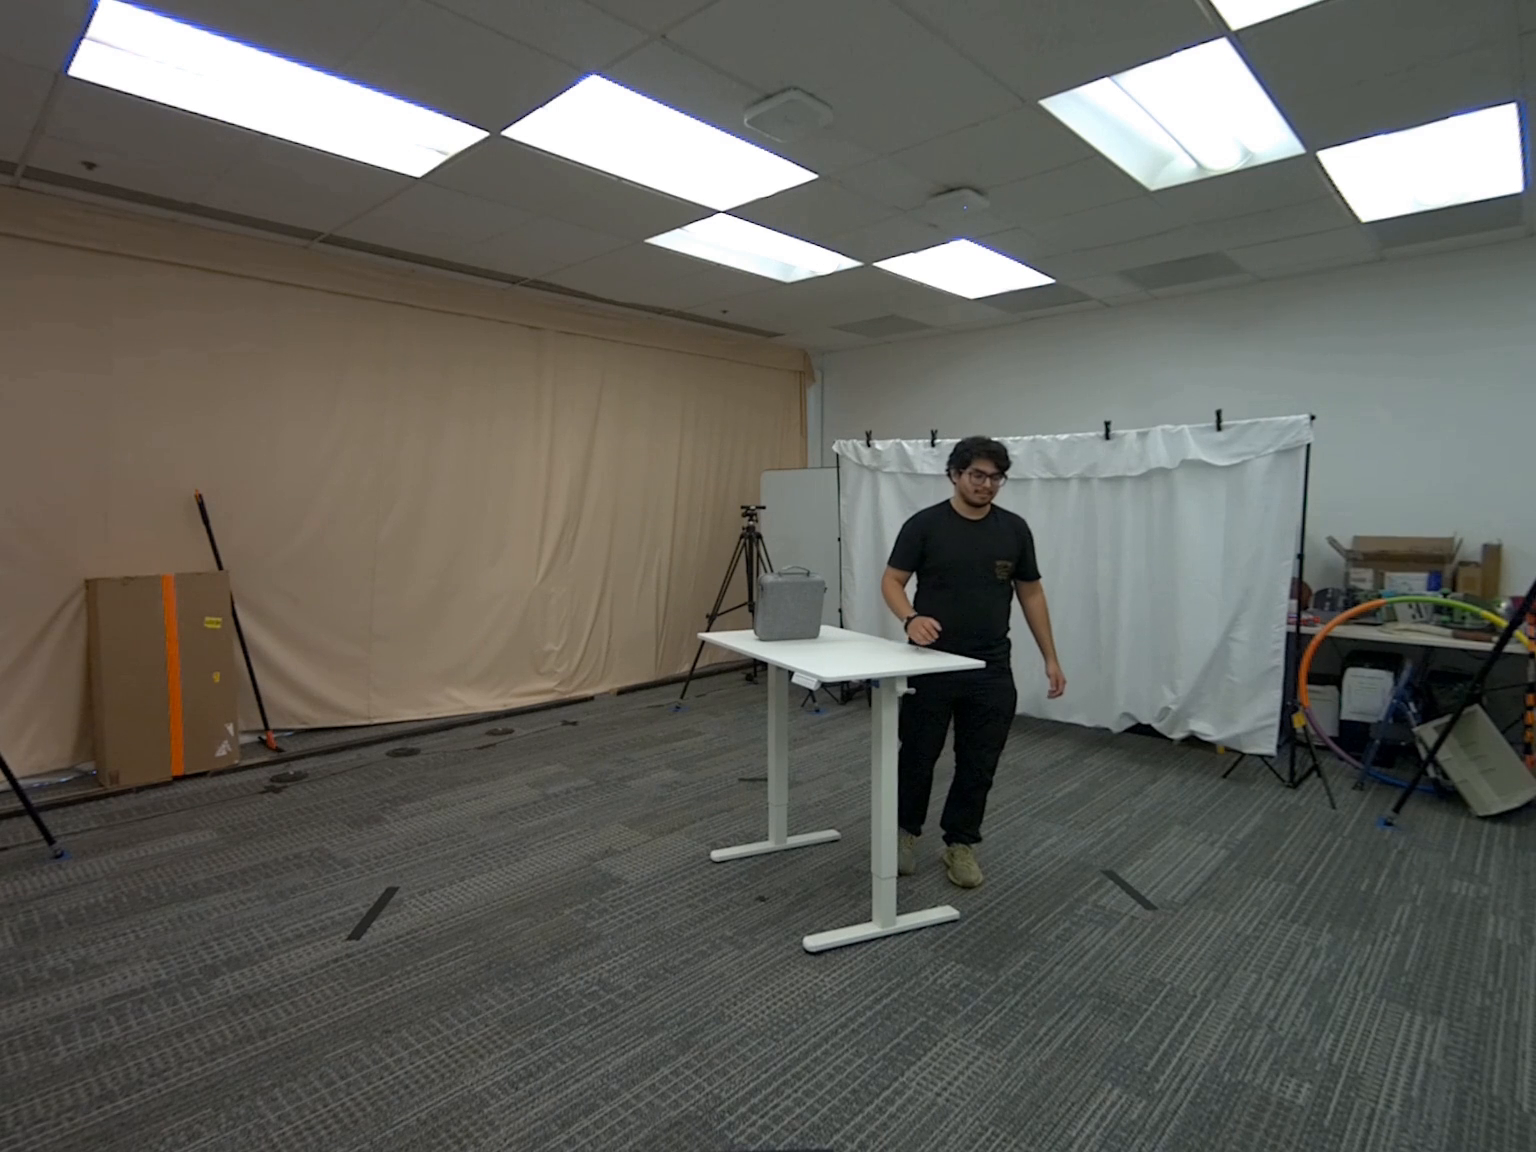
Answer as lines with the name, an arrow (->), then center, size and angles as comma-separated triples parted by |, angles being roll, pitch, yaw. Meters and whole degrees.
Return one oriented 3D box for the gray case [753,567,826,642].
gray case -> 0.087, 0.112, 3.213 | 0.253, 0.259, 0.106 | 1, 9, -14
